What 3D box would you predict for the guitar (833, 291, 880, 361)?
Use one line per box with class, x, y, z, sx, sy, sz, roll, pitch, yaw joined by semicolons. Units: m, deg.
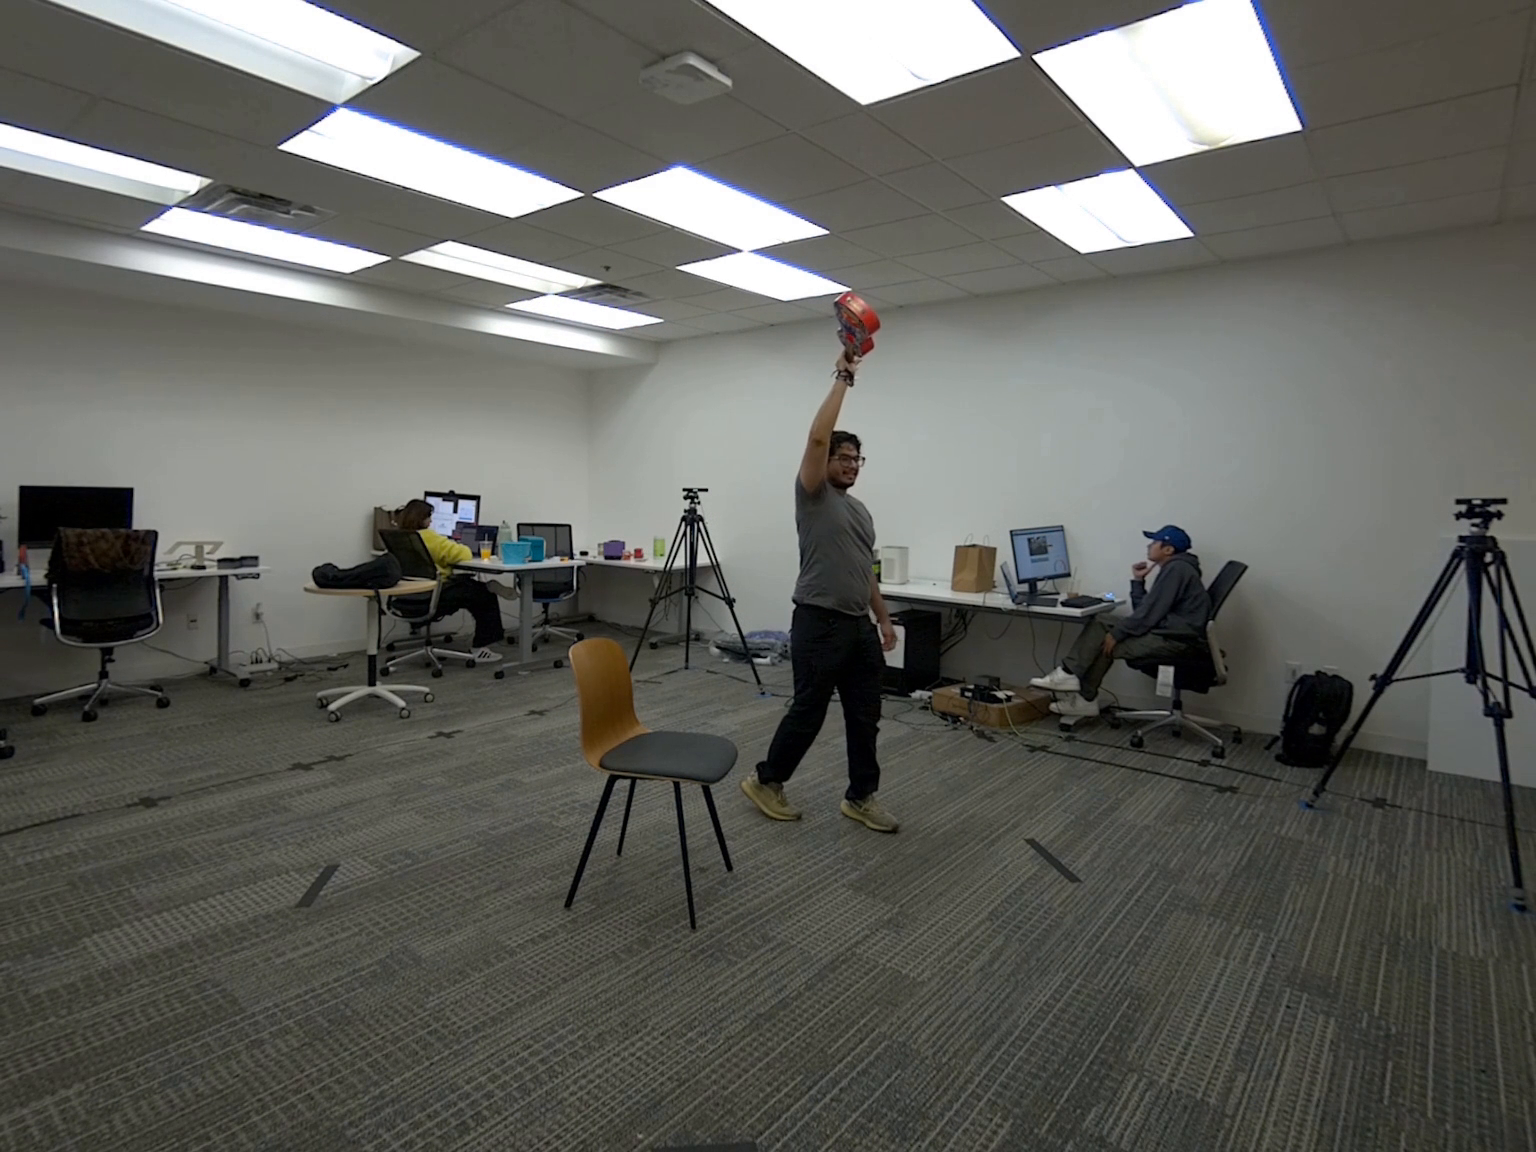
guitar;0.312;-0.929;3.344;0.070;0.196;0.491;-37;-9;-11
